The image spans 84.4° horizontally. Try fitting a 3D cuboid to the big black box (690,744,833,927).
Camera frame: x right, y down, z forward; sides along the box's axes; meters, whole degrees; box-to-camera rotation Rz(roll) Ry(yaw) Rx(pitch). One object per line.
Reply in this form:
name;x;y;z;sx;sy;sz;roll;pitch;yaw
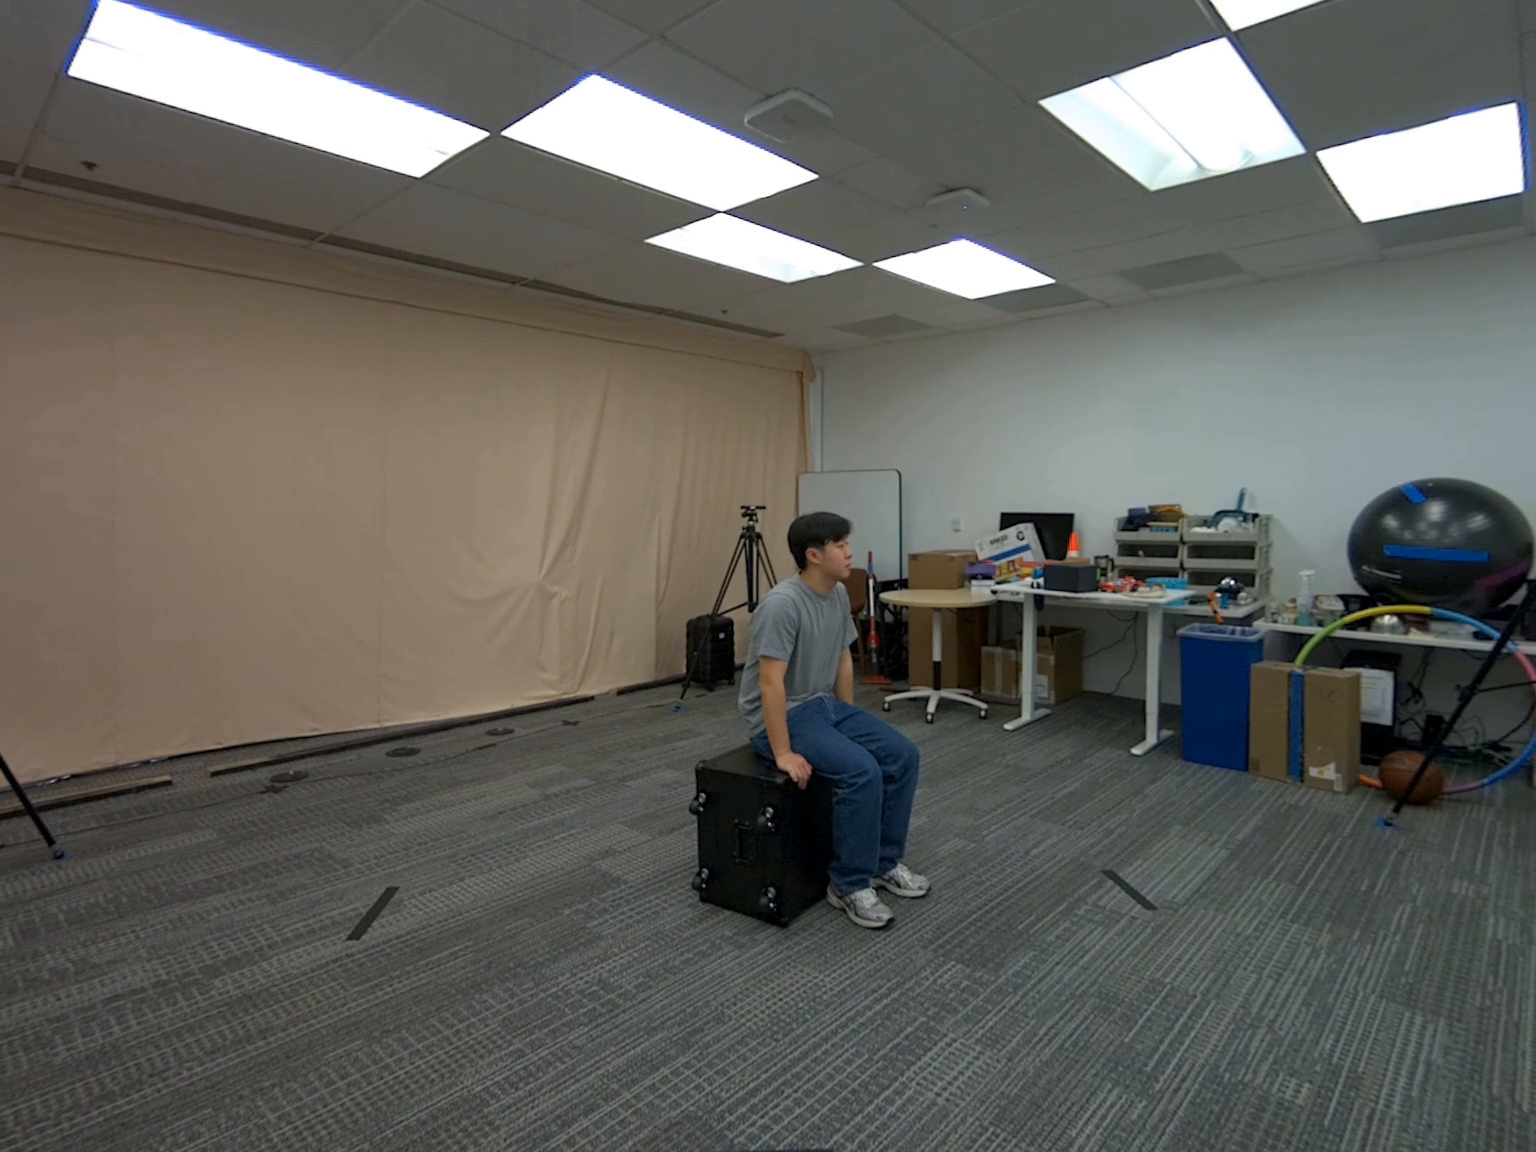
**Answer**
big black box;0.084;0.877;3.147;0.408;0.520;0.837;0;4;33
